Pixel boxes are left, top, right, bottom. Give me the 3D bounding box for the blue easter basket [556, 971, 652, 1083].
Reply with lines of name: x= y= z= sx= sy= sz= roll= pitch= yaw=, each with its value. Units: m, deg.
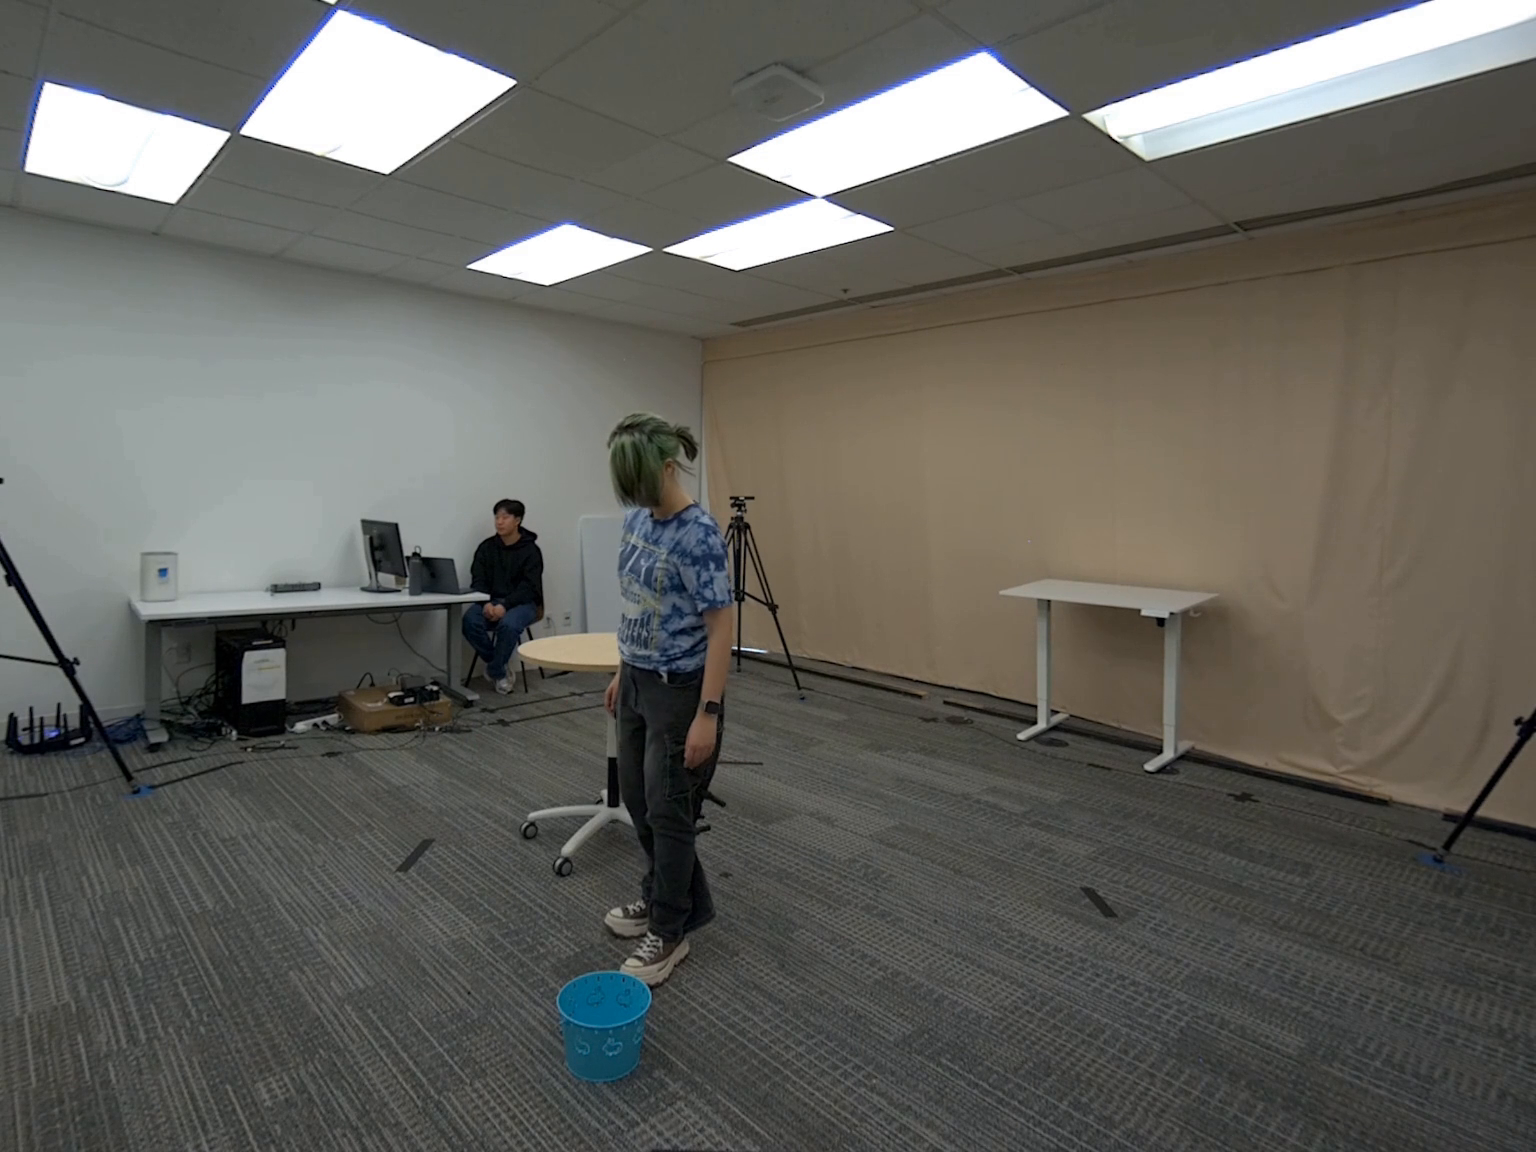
blue easter basket: x=-0.415 y=1.117 z=2.078 sx=0.243 sy=0.155 sz=0.244 roll=2 pitch=5 yaw=-2
